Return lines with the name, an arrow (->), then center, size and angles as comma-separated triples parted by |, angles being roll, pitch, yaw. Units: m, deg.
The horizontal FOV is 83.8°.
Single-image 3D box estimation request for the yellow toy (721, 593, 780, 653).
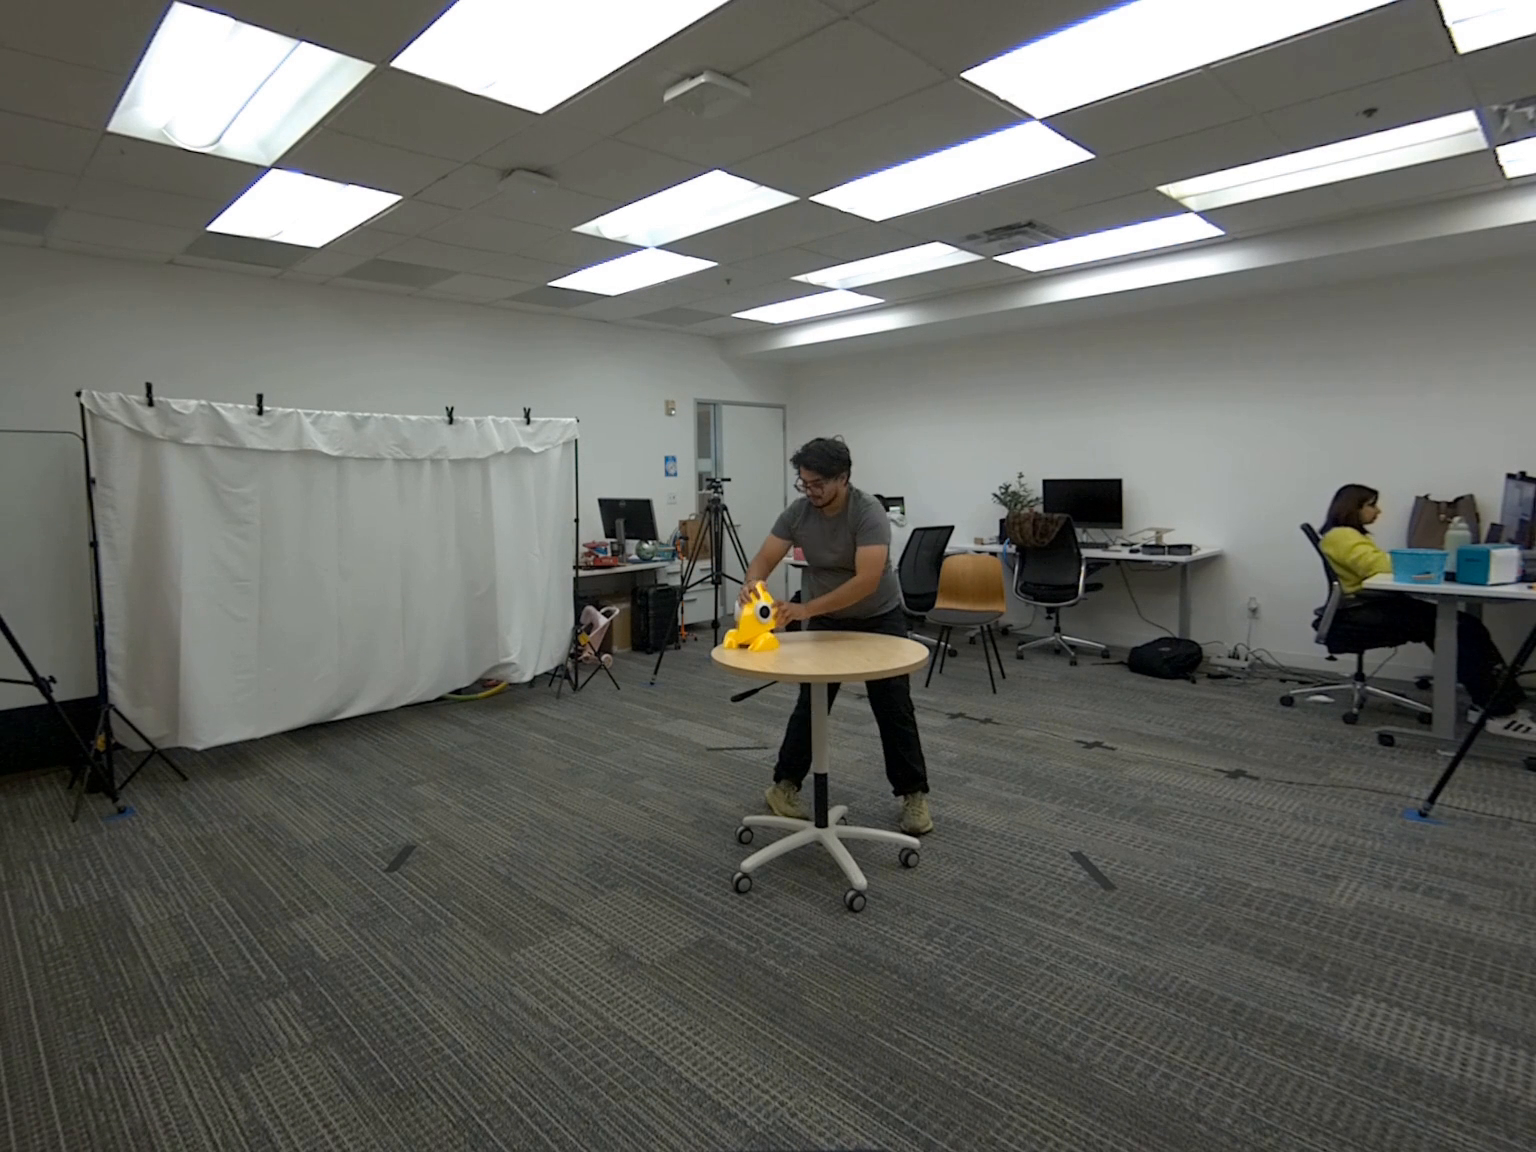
yellow toy -> -0.060, 0.147, 3.151 | 0.210, 0.230, 0.188 | 1, 5, 32
